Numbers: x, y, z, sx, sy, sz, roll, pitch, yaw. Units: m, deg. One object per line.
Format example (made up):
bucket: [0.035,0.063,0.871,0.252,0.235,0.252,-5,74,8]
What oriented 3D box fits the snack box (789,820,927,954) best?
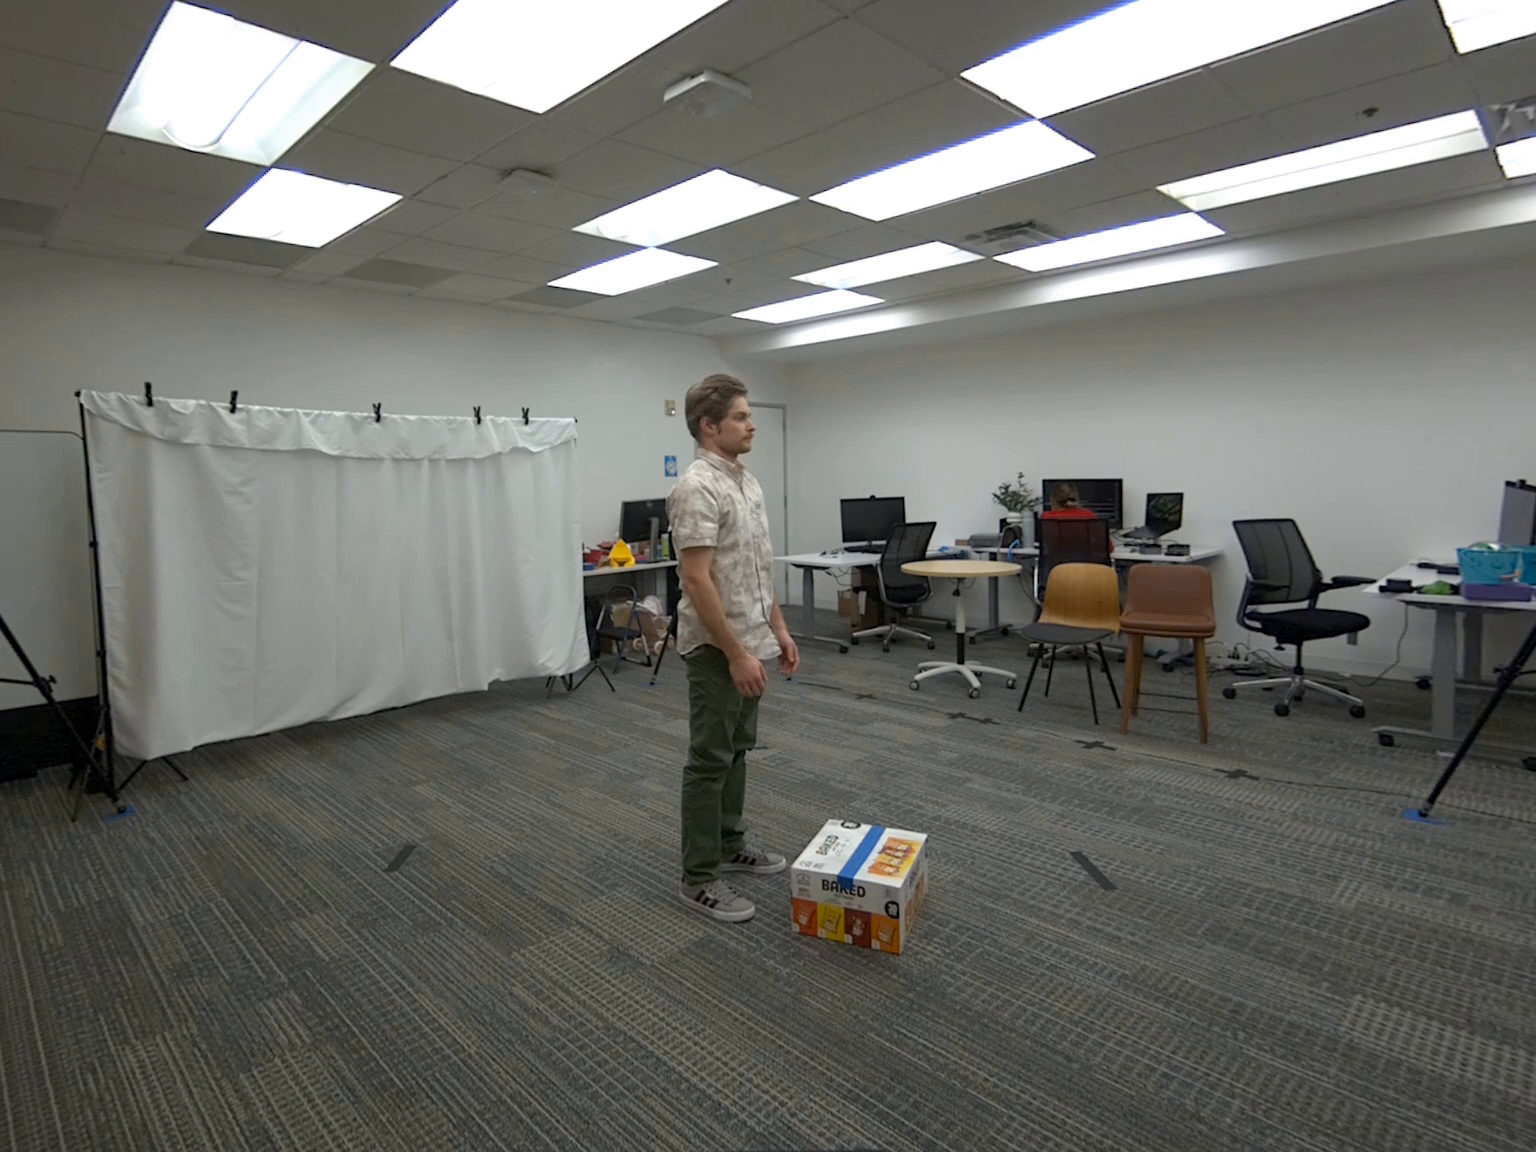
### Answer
snack box: [0.311,0.979,2.731,0.348,0.205,0.398,2,7,23]
